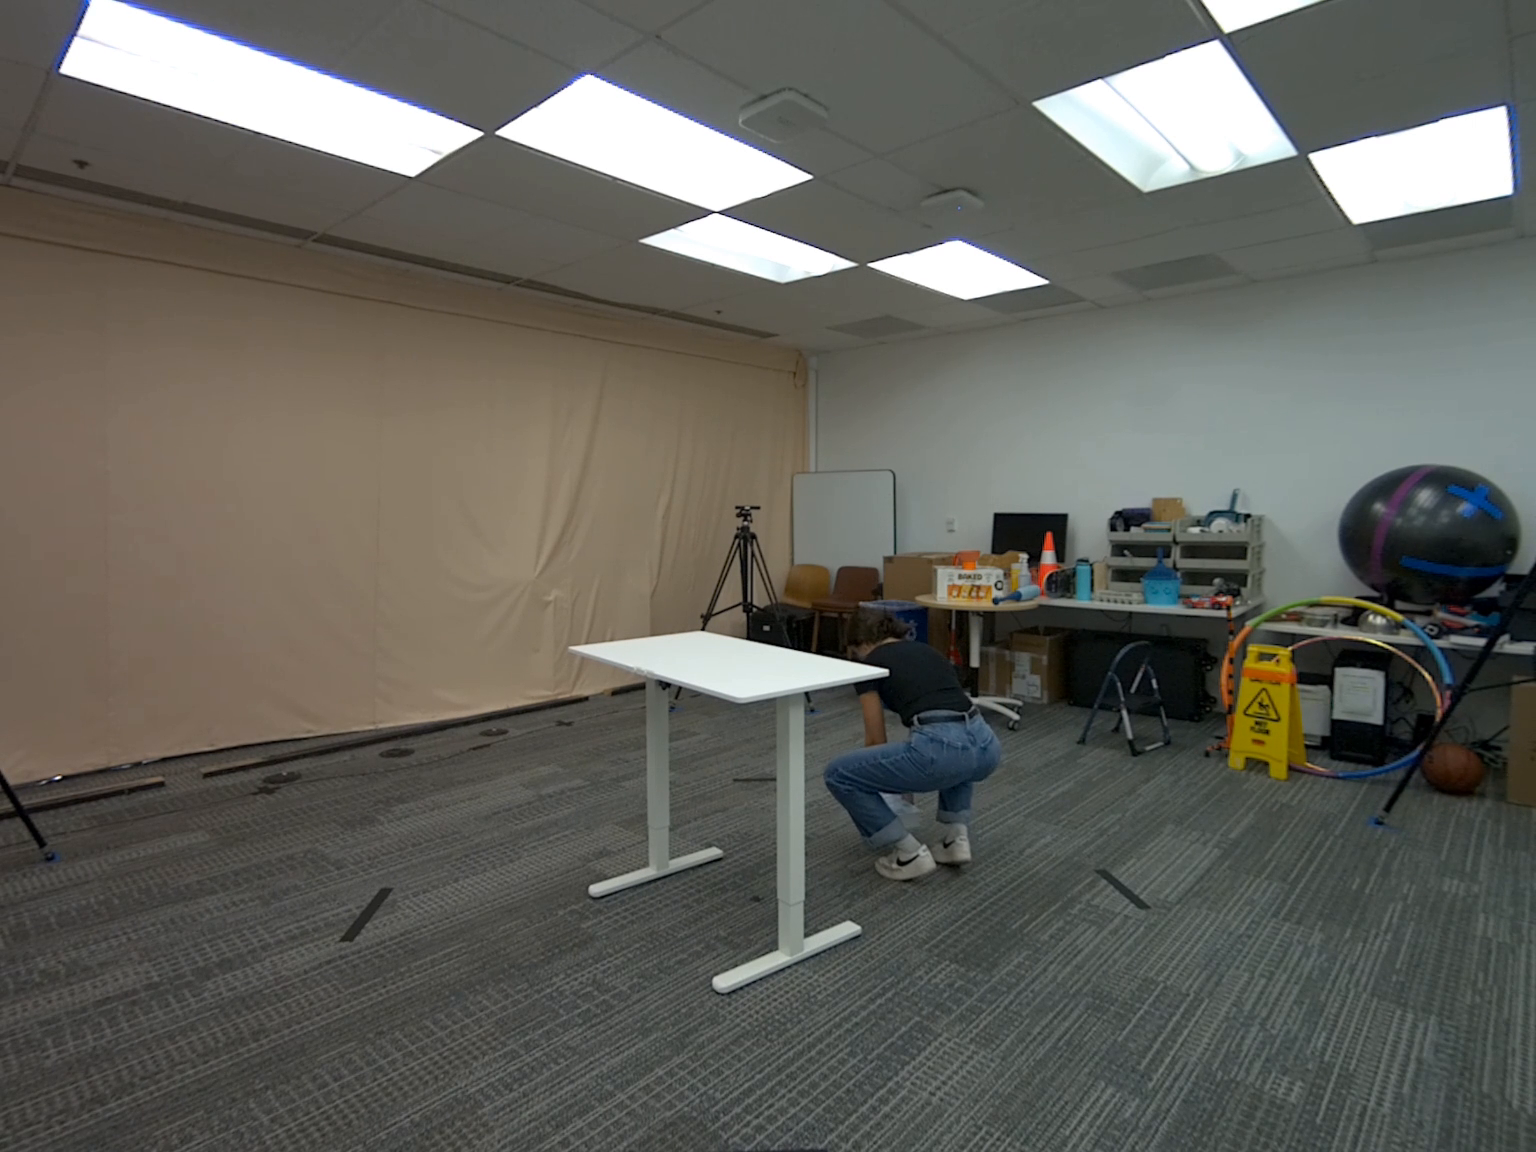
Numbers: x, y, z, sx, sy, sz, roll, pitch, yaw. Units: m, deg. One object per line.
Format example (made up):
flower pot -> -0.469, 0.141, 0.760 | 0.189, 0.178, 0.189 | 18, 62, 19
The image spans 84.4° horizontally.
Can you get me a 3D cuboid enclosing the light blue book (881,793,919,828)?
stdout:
light blue book -> 0.483, 0.953, 3.450 | 0.187, 0.059, 0.268 | -1, 10, -24
